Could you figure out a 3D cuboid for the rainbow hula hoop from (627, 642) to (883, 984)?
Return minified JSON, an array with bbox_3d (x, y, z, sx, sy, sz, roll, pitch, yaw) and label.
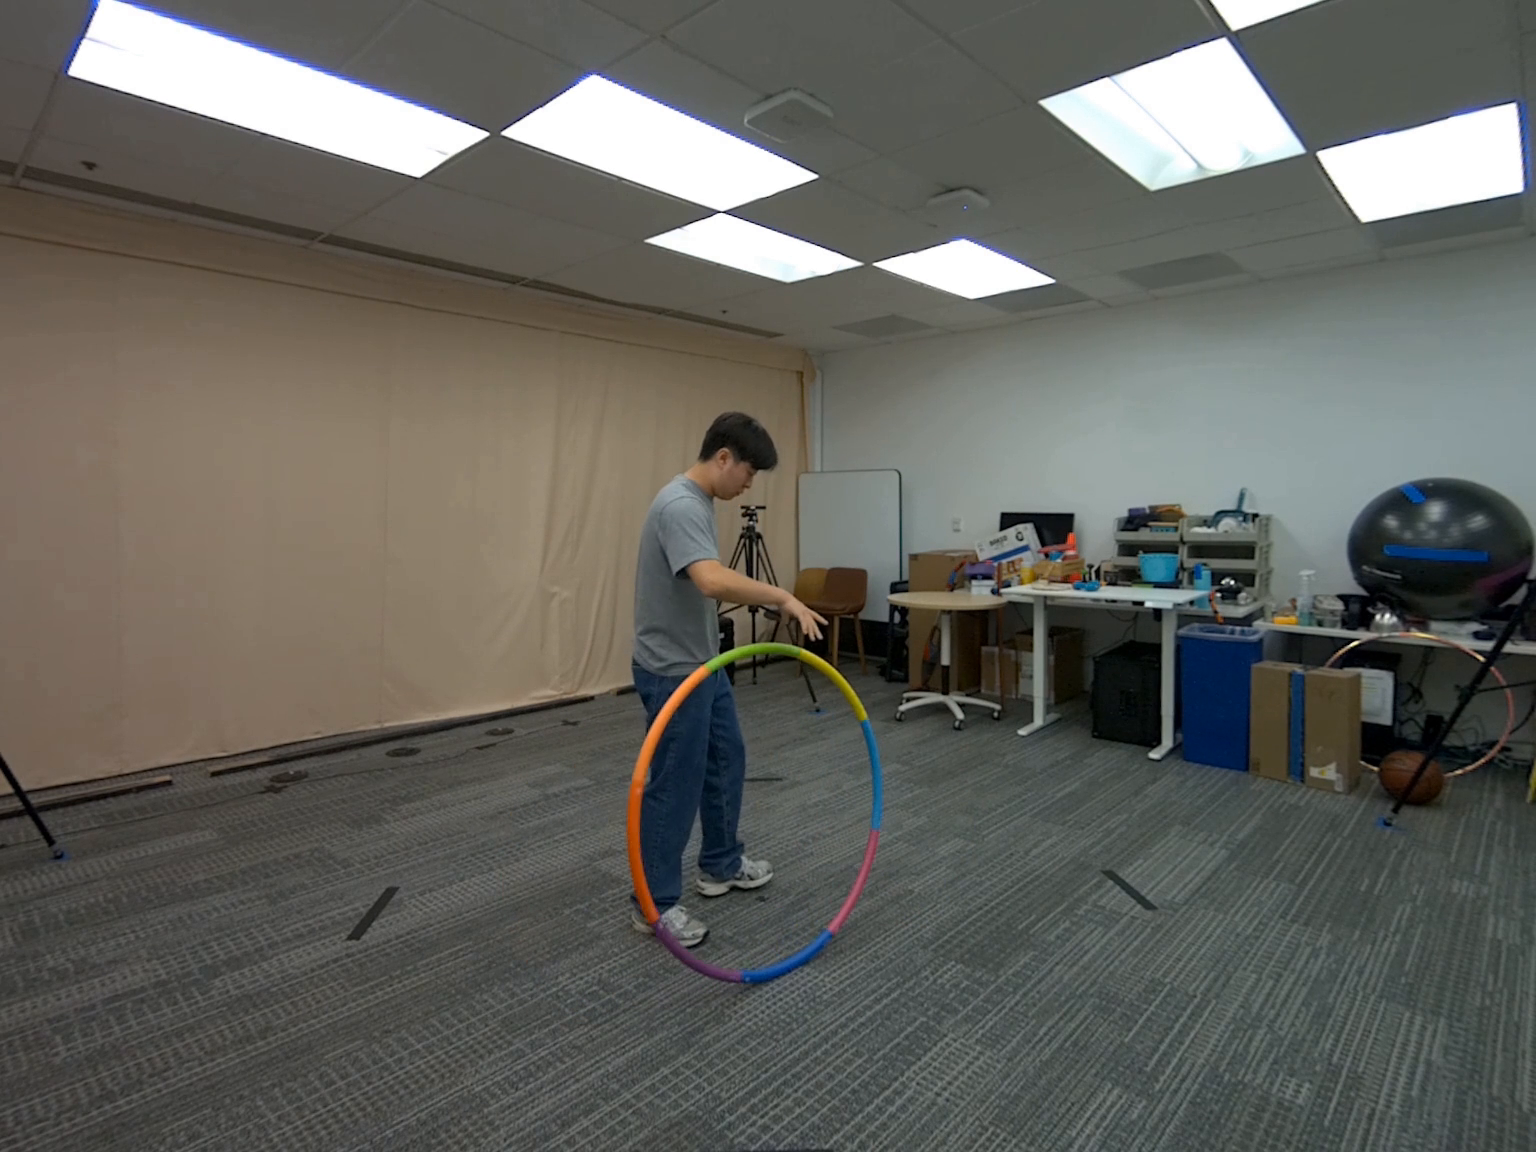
[{"bbox_3d":[0.007,0.699,2.539,0.949,0.981,0.036,-3,-4,-38],"label":"rainbow hula hoop"}]
